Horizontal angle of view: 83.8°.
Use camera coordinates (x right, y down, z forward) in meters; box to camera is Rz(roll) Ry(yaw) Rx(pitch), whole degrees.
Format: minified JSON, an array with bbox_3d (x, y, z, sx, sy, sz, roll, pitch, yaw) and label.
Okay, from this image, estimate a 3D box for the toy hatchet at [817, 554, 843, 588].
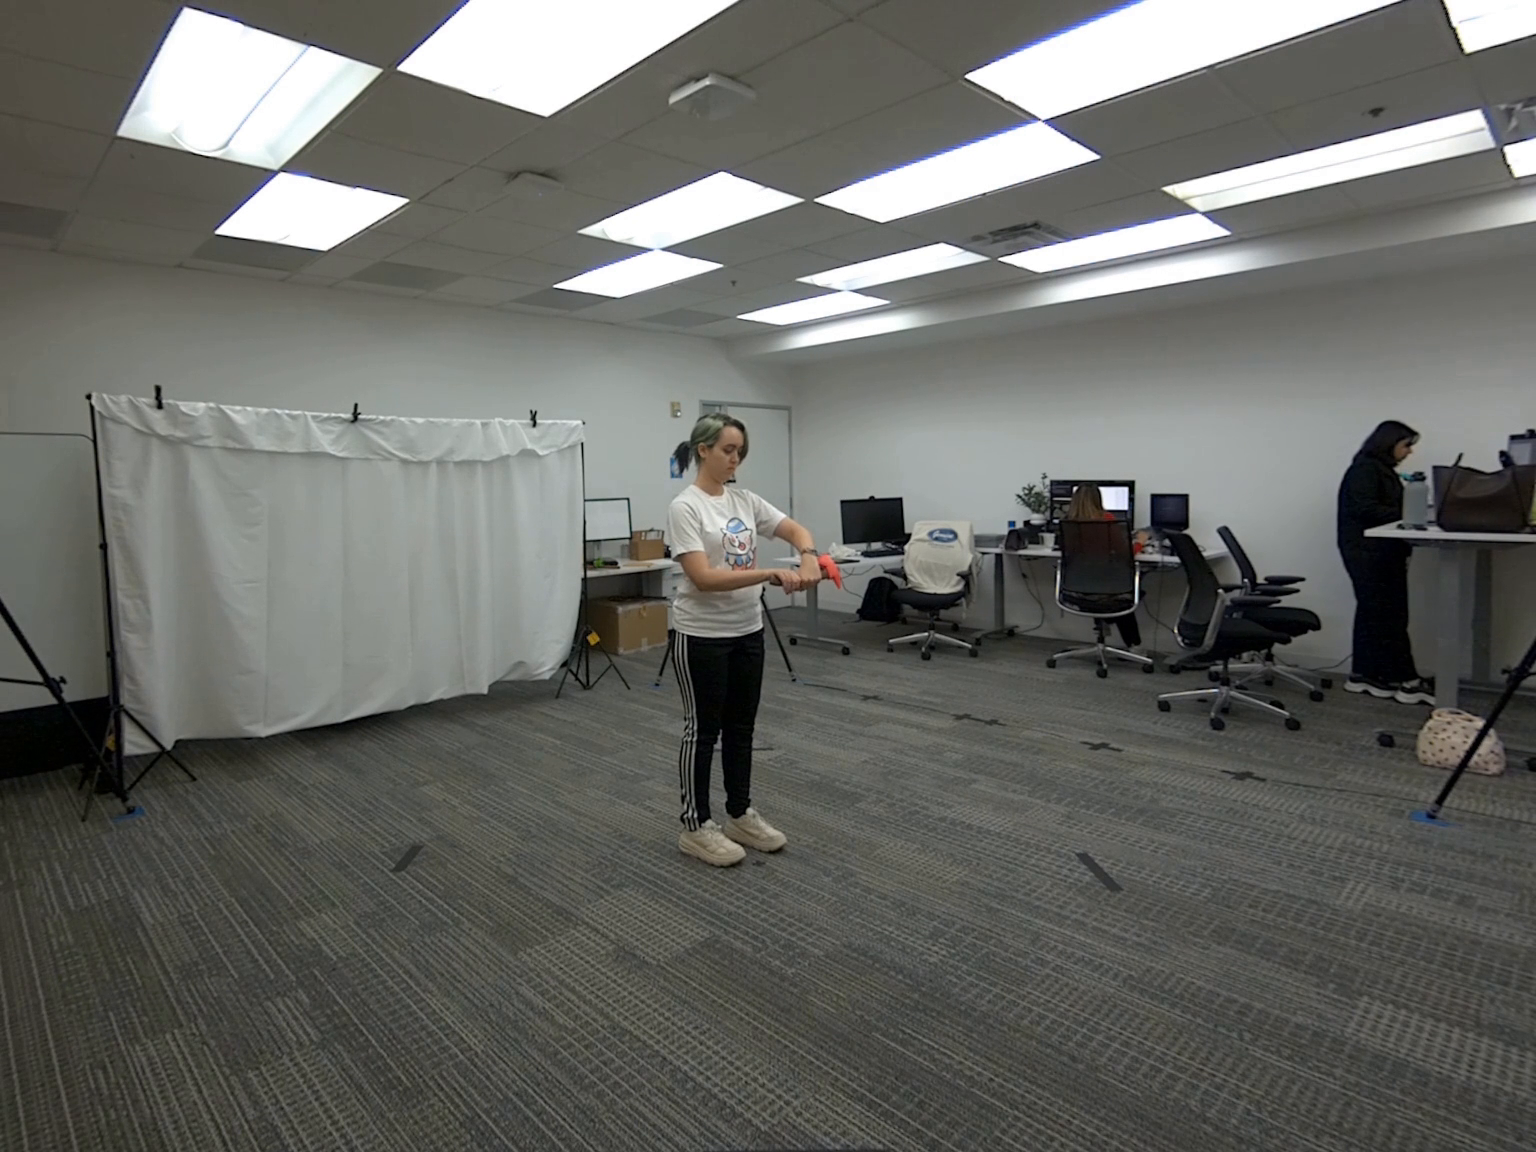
[{"bbox_3d":[0.126,-0.021,2.985,0.266,0.134,0.029,3,-23,-14],"label":"toy hatchet"}]
